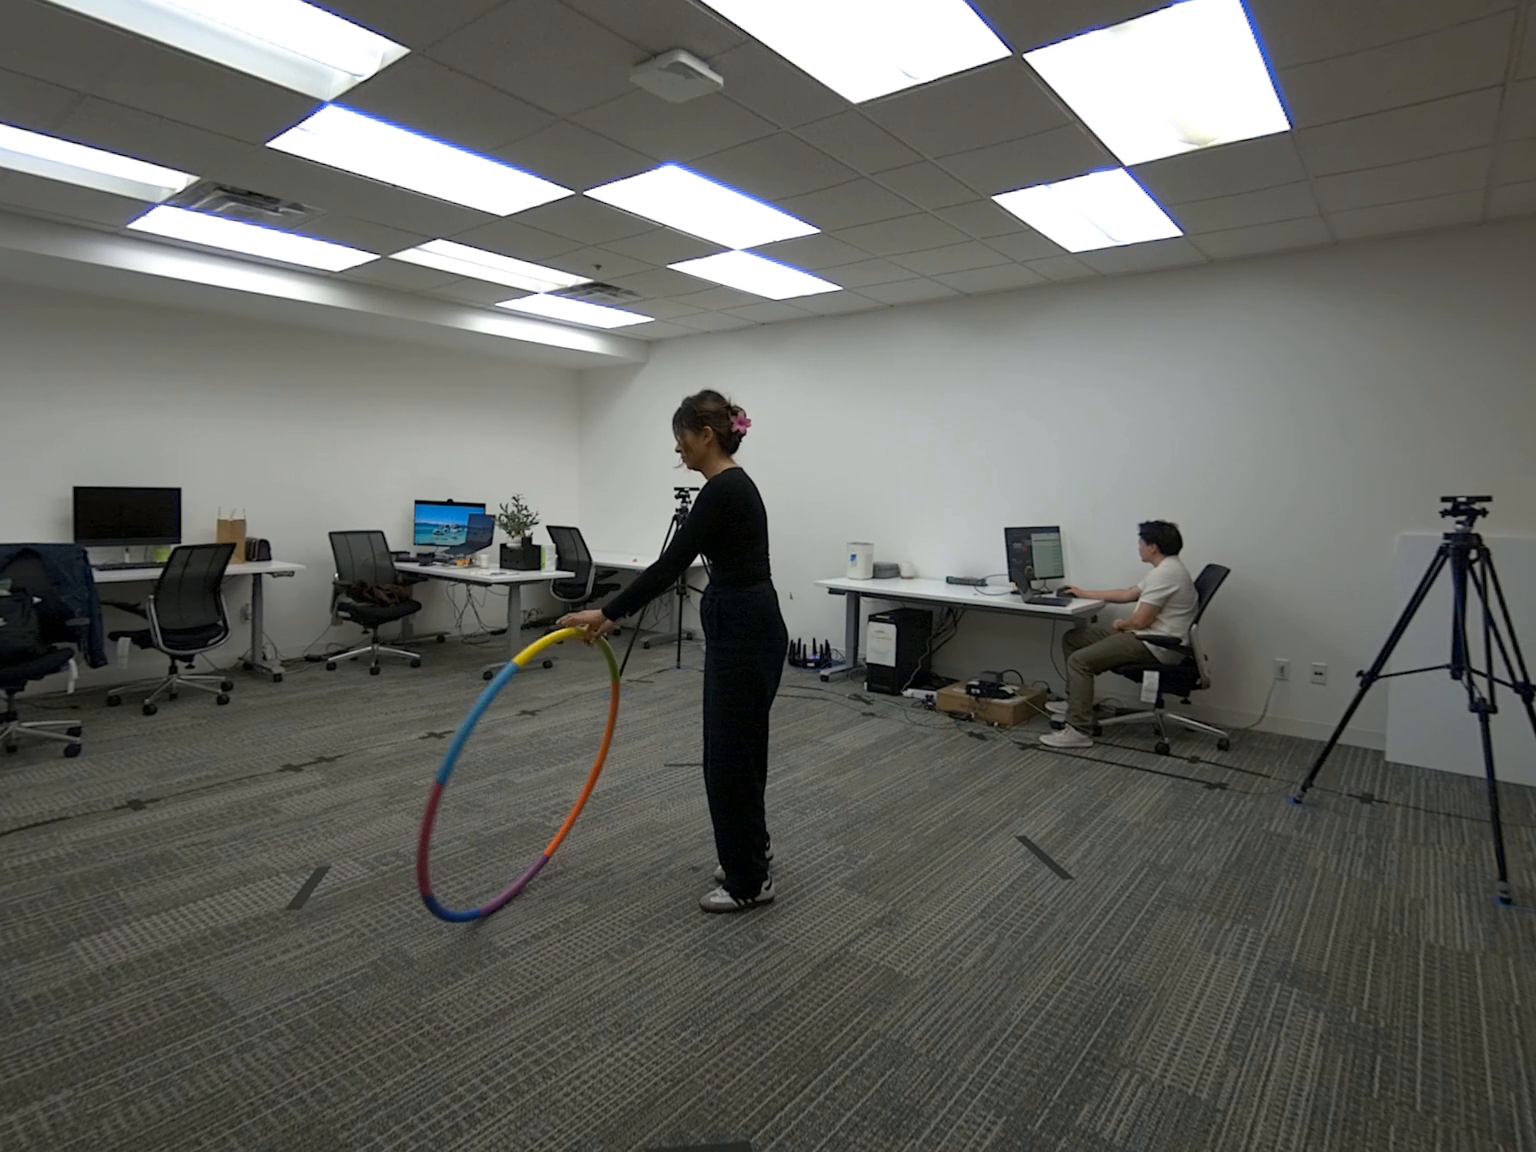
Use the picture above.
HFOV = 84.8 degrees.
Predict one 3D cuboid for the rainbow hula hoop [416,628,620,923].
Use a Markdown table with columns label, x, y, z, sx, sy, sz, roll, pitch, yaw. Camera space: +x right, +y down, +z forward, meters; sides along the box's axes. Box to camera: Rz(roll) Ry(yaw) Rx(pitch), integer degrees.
| label | x | y | z | sx | sy | sz | roll | pitch | yaw |
| --- | --- | --- | --- | --- | --- | --- | --- | --- | --- |
| rainbow hula hoop | -0.770 | 0.626 | 2.745 | 0.036 | 0.973 | 0.961 | 19 | 10 | 17 |
